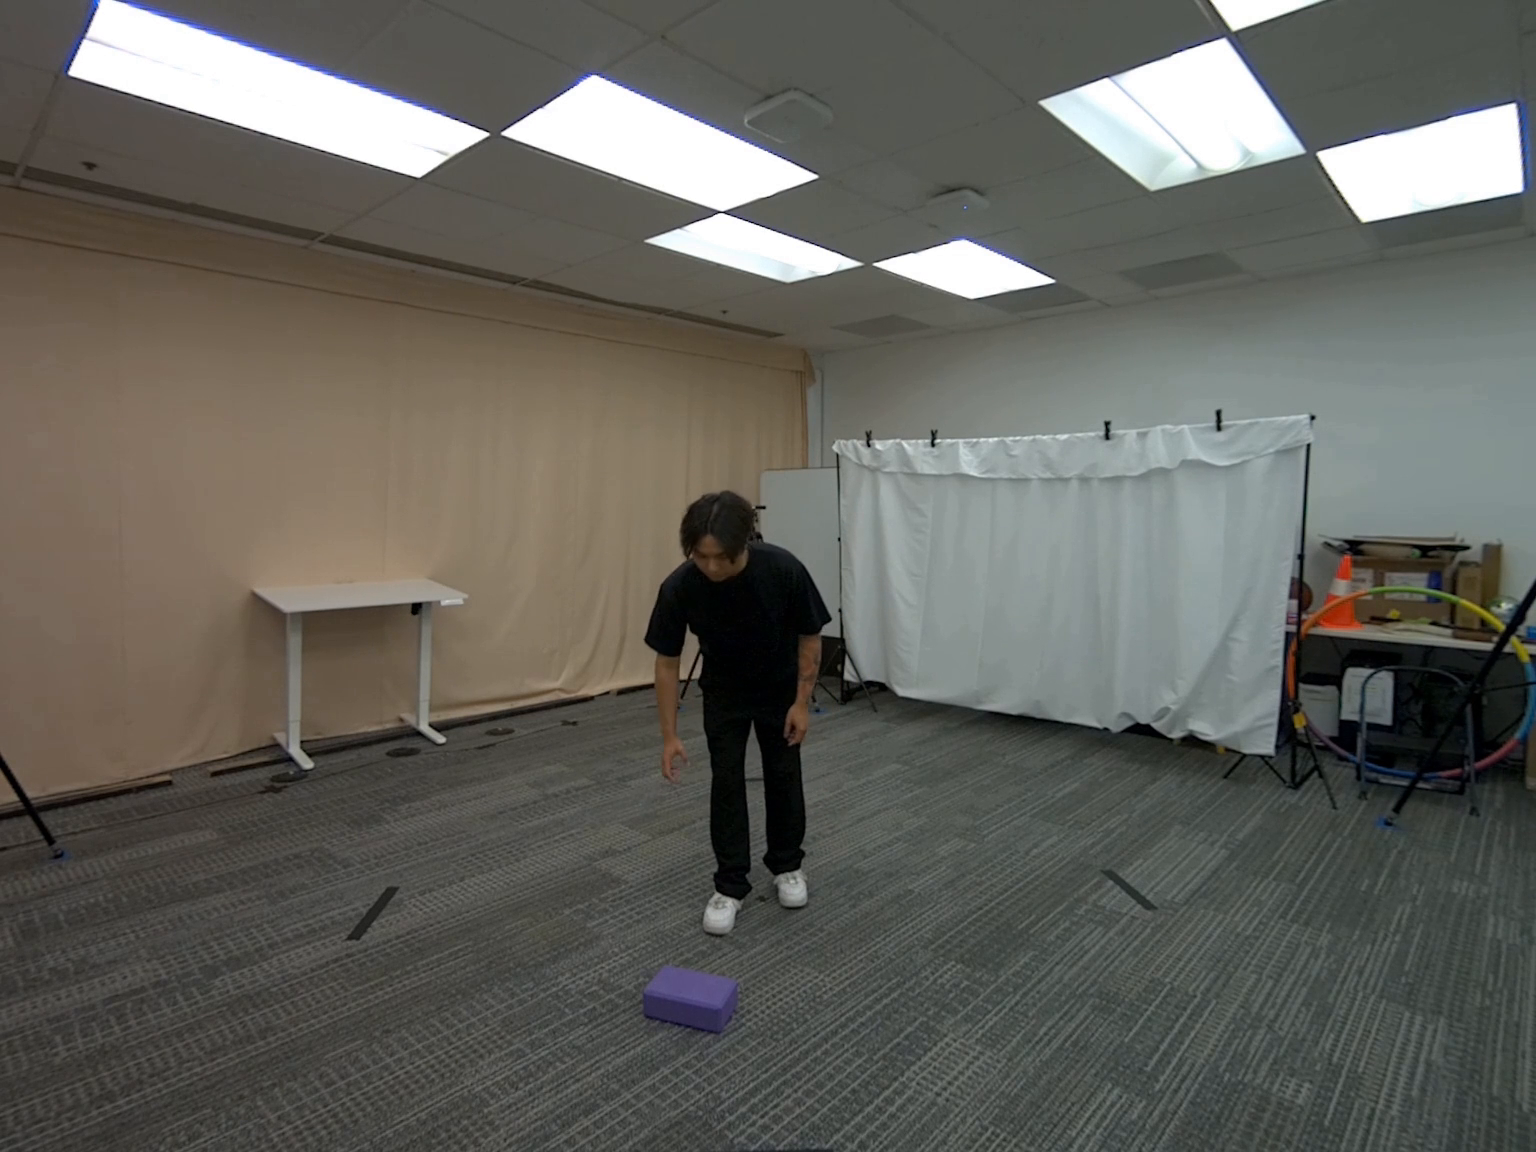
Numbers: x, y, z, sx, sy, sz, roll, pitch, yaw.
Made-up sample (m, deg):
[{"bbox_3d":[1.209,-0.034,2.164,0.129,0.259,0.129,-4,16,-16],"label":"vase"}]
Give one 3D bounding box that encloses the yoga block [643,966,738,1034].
[{"bbox_3d":[-0.209,1.162,2.316,0.234,0.076,0.146,1,4,19],"label":"yoga block"}]
